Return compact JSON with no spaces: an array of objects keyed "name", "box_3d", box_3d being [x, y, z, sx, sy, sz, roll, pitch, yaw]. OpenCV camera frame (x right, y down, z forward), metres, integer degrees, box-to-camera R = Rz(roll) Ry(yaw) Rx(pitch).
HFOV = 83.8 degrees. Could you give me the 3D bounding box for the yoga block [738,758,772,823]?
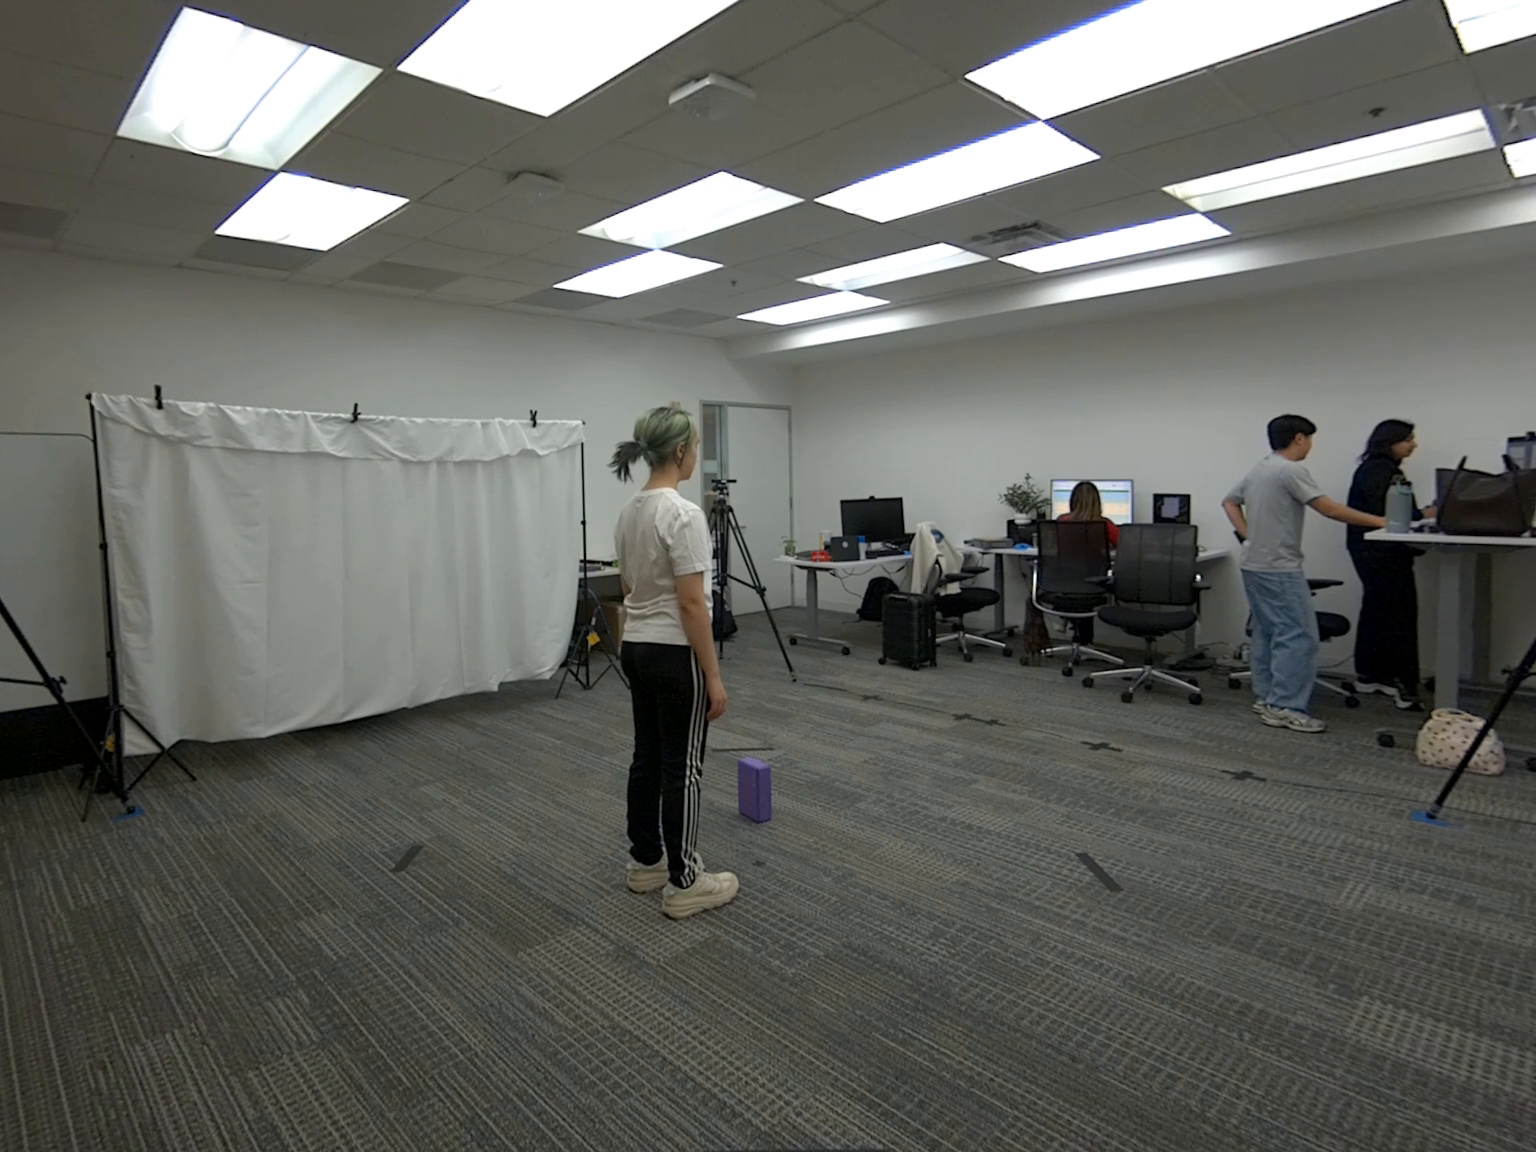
[{"name":"yoga block","box_3d":[-0.056,0.881,3.540,0.074,0.228,0.153,-4,5,-36]}]
